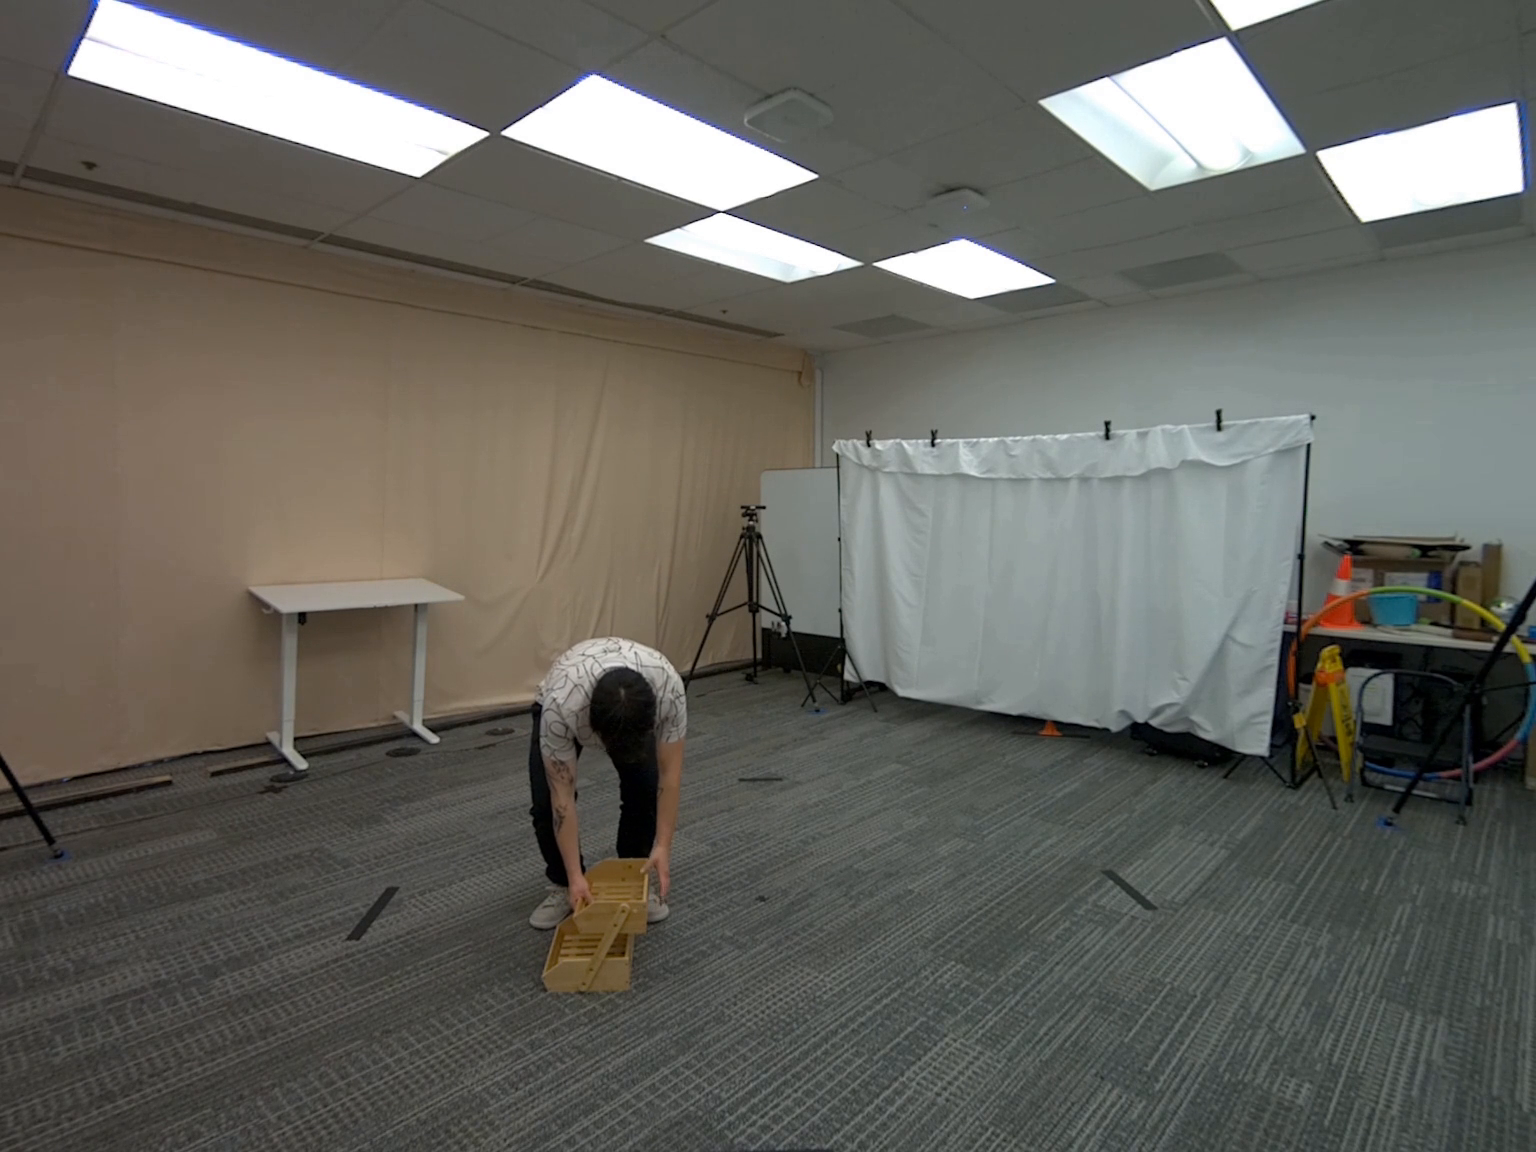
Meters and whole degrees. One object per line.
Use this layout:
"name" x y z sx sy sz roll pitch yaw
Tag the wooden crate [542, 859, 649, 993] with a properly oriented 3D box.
"wooden crate" -0.518 1.047 2.565 0.301 0.273 0.326 -1 4 -4
